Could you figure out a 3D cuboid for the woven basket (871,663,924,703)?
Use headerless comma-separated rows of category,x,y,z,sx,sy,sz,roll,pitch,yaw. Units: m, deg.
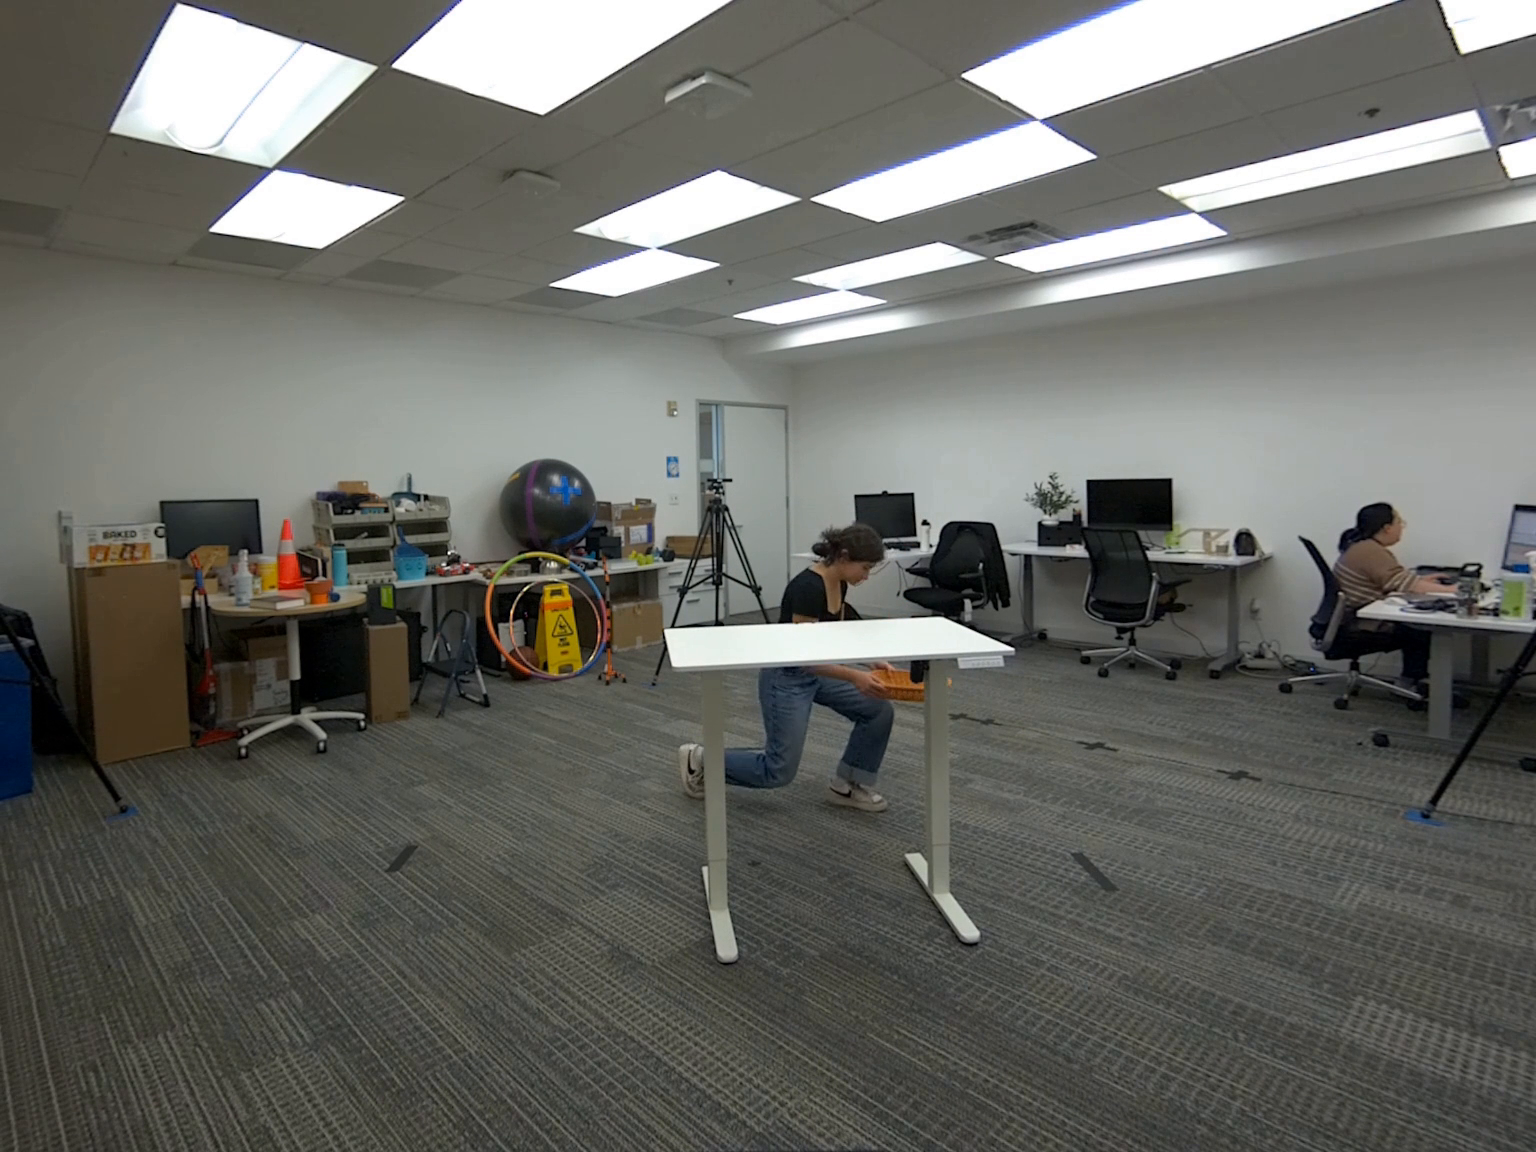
woven basket,0.547,0.449,3.415,0.358,0.073,0.248,3,7,24
